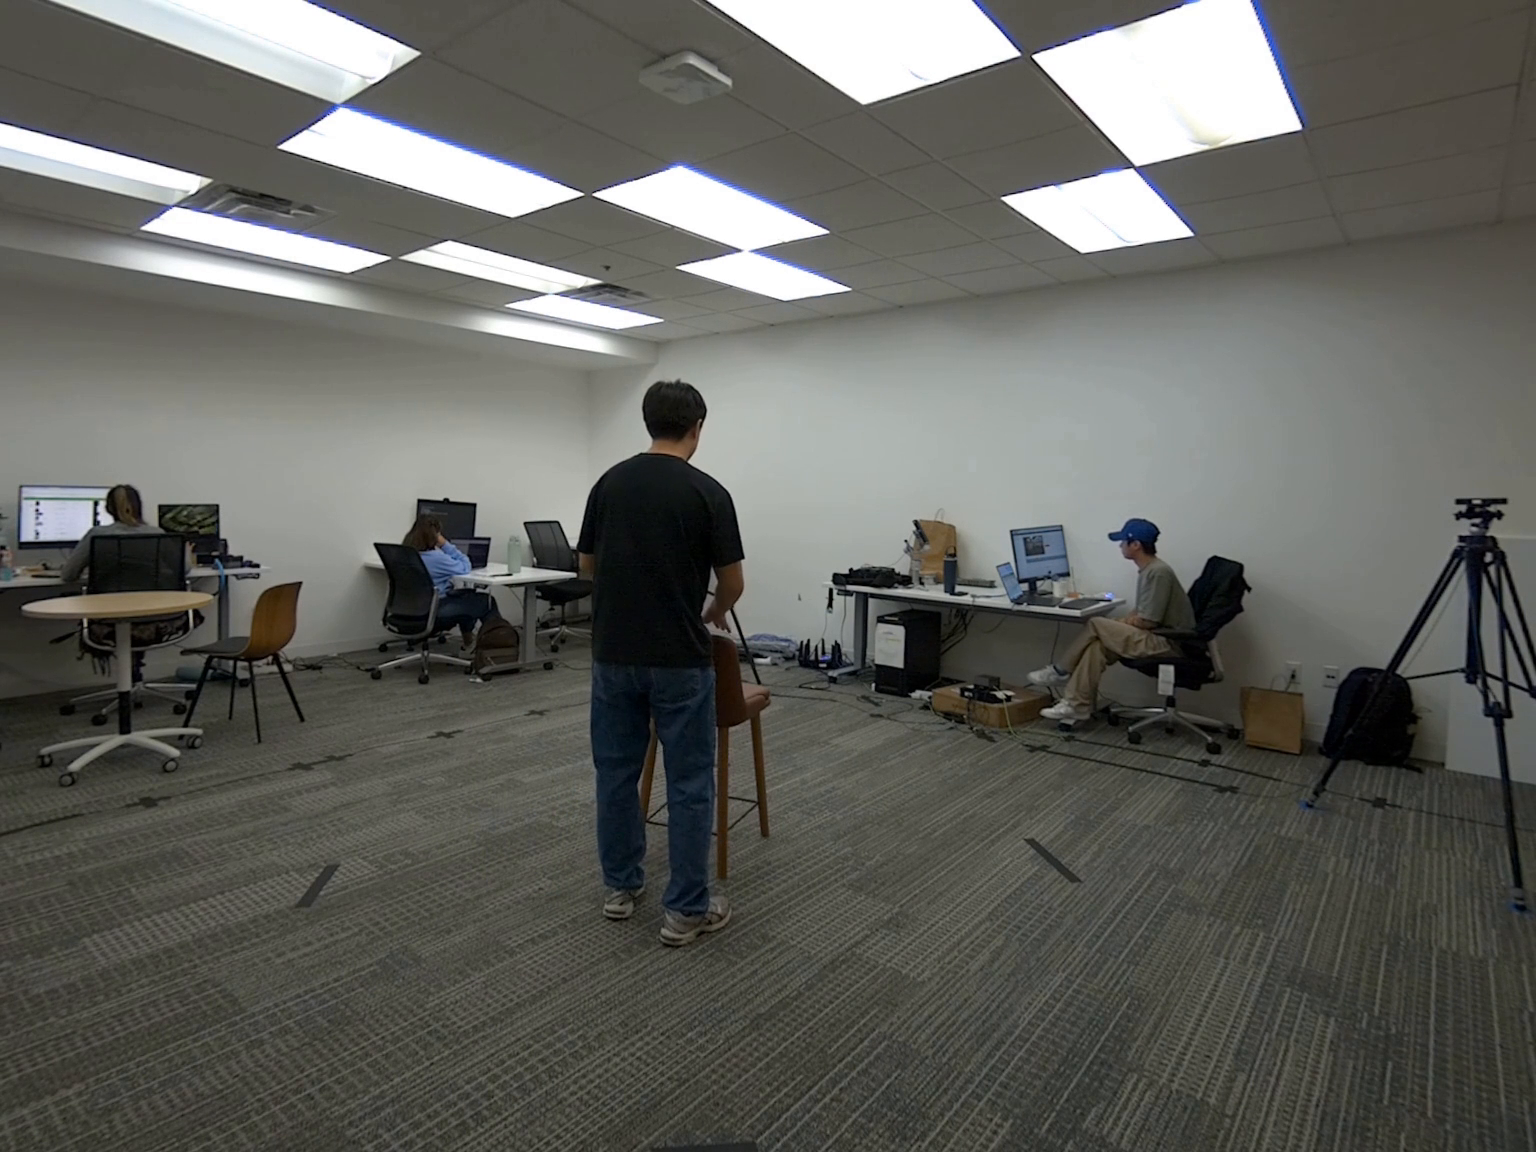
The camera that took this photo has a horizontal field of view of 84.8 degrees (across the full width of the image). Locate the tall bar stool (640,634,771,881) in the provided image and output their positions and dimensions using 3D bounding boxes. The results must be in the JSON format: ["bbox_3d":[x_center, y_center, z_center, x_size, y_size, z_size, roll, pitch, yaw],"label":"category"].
[{"bbox_3d":[-0.262,0.611,3.275,0.467,0.886,0.459,2,5,22],"label":"tall bar stool"}]
